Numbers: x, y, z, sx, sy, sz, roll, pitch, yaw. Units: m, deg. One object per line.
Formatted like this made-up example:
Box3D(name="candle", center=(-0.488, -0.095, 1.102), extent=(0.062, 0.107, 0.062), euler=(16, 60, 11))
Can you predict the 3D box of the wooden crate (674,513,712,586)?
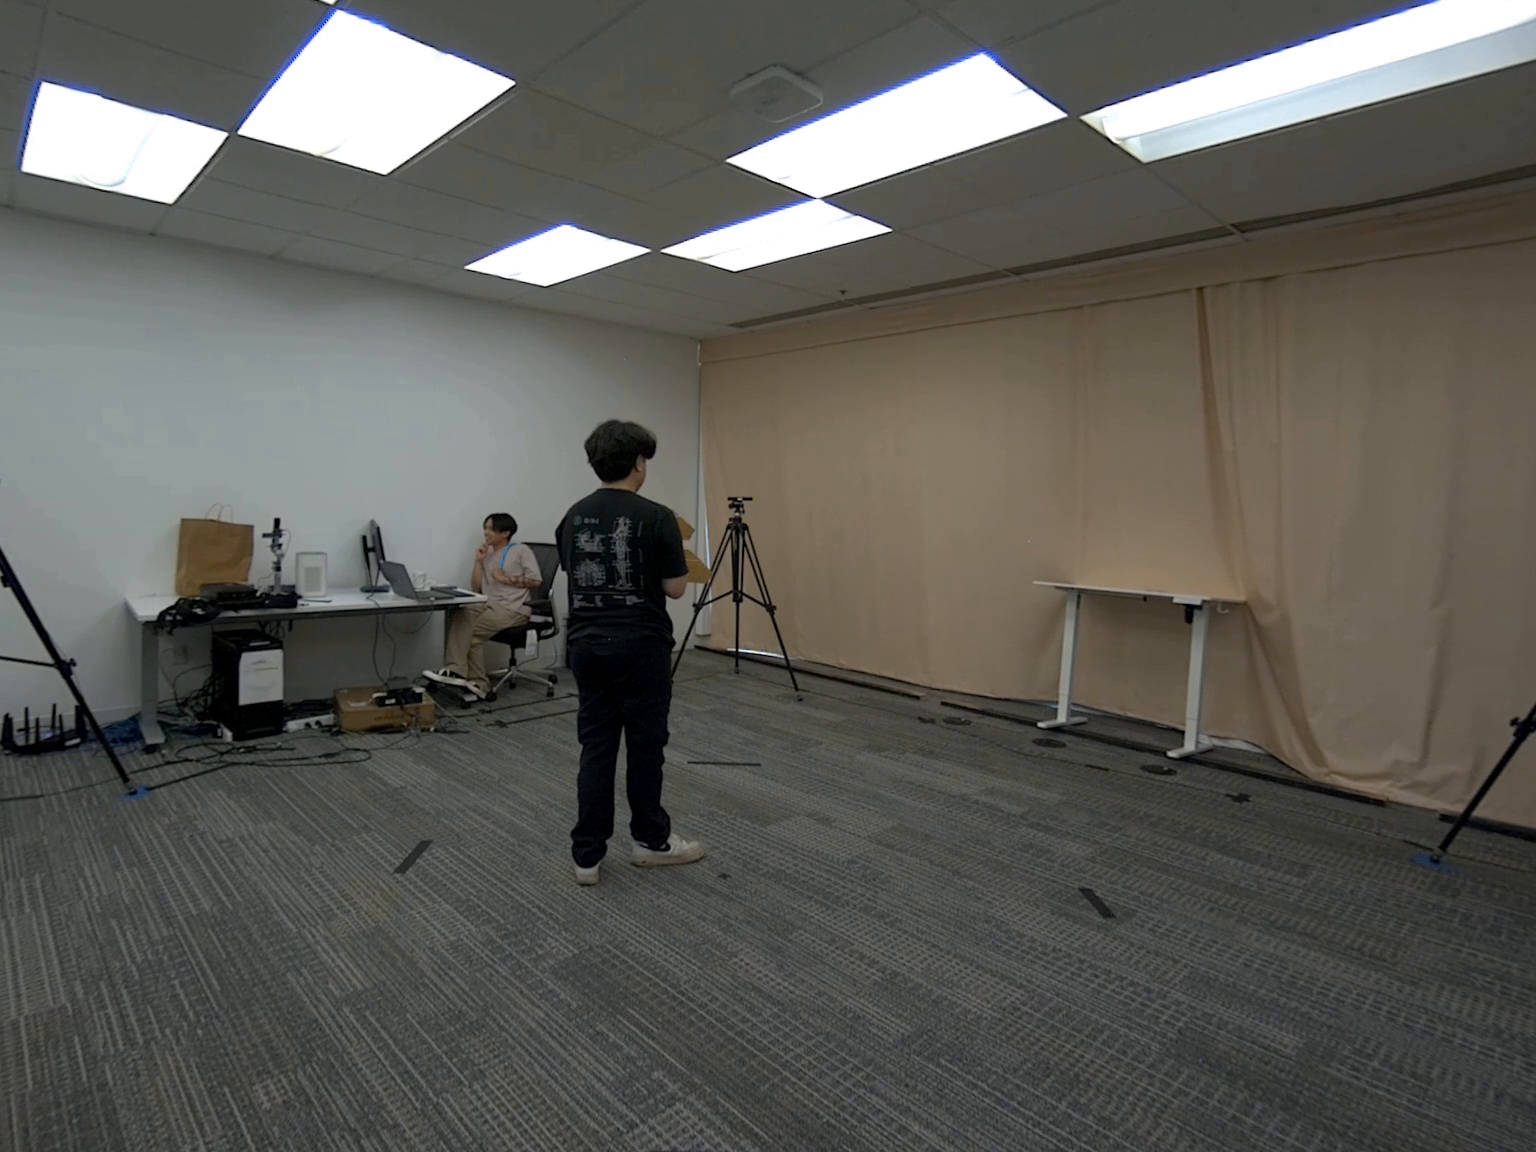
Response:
Box3D(name="wooden crate", center=(-0.392, -0.140, 3.493), extent=(0.298, 0.272, 0.330), euler=(5, 9, -14))
